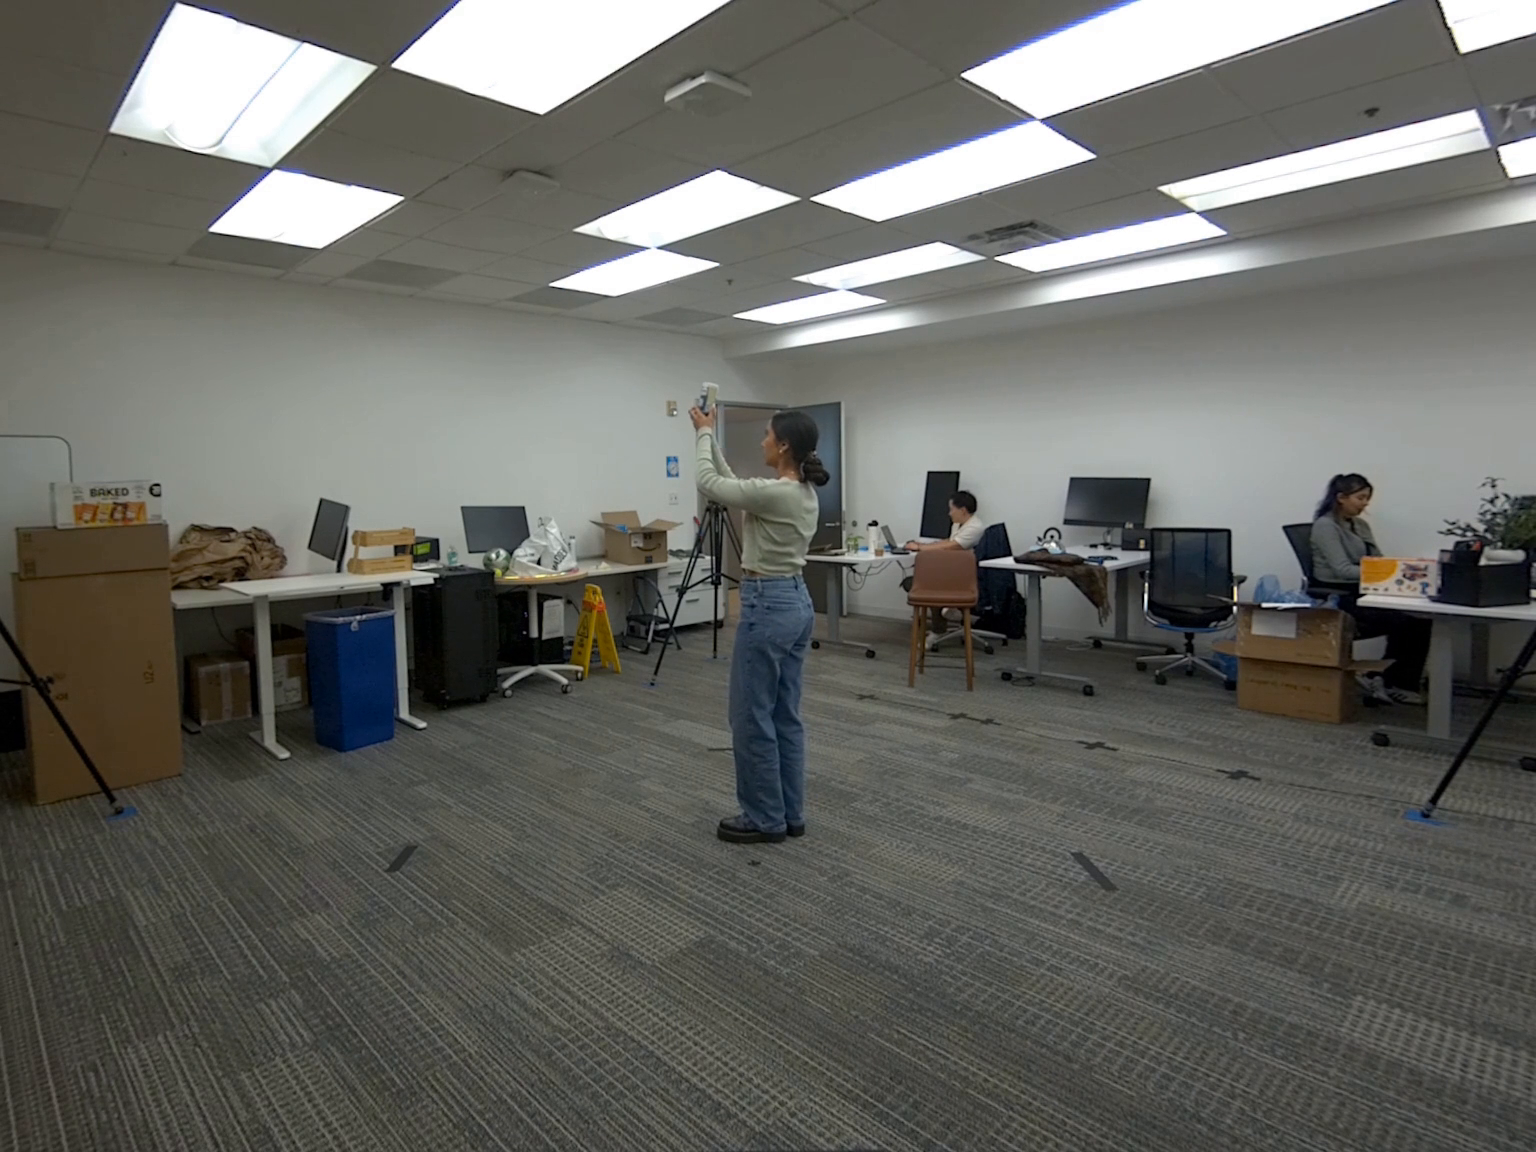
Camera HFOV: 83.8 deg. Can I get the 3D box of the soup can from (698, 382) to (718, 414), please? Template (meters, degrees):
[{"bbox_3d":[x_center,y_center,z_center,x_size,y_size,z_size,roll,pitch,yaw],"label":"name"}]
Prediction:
[{"bbox_3d":[-0.245,-0.712,3.445,0.067,0.121,0.067,10,-1,-2],"label":"soup can"}]
